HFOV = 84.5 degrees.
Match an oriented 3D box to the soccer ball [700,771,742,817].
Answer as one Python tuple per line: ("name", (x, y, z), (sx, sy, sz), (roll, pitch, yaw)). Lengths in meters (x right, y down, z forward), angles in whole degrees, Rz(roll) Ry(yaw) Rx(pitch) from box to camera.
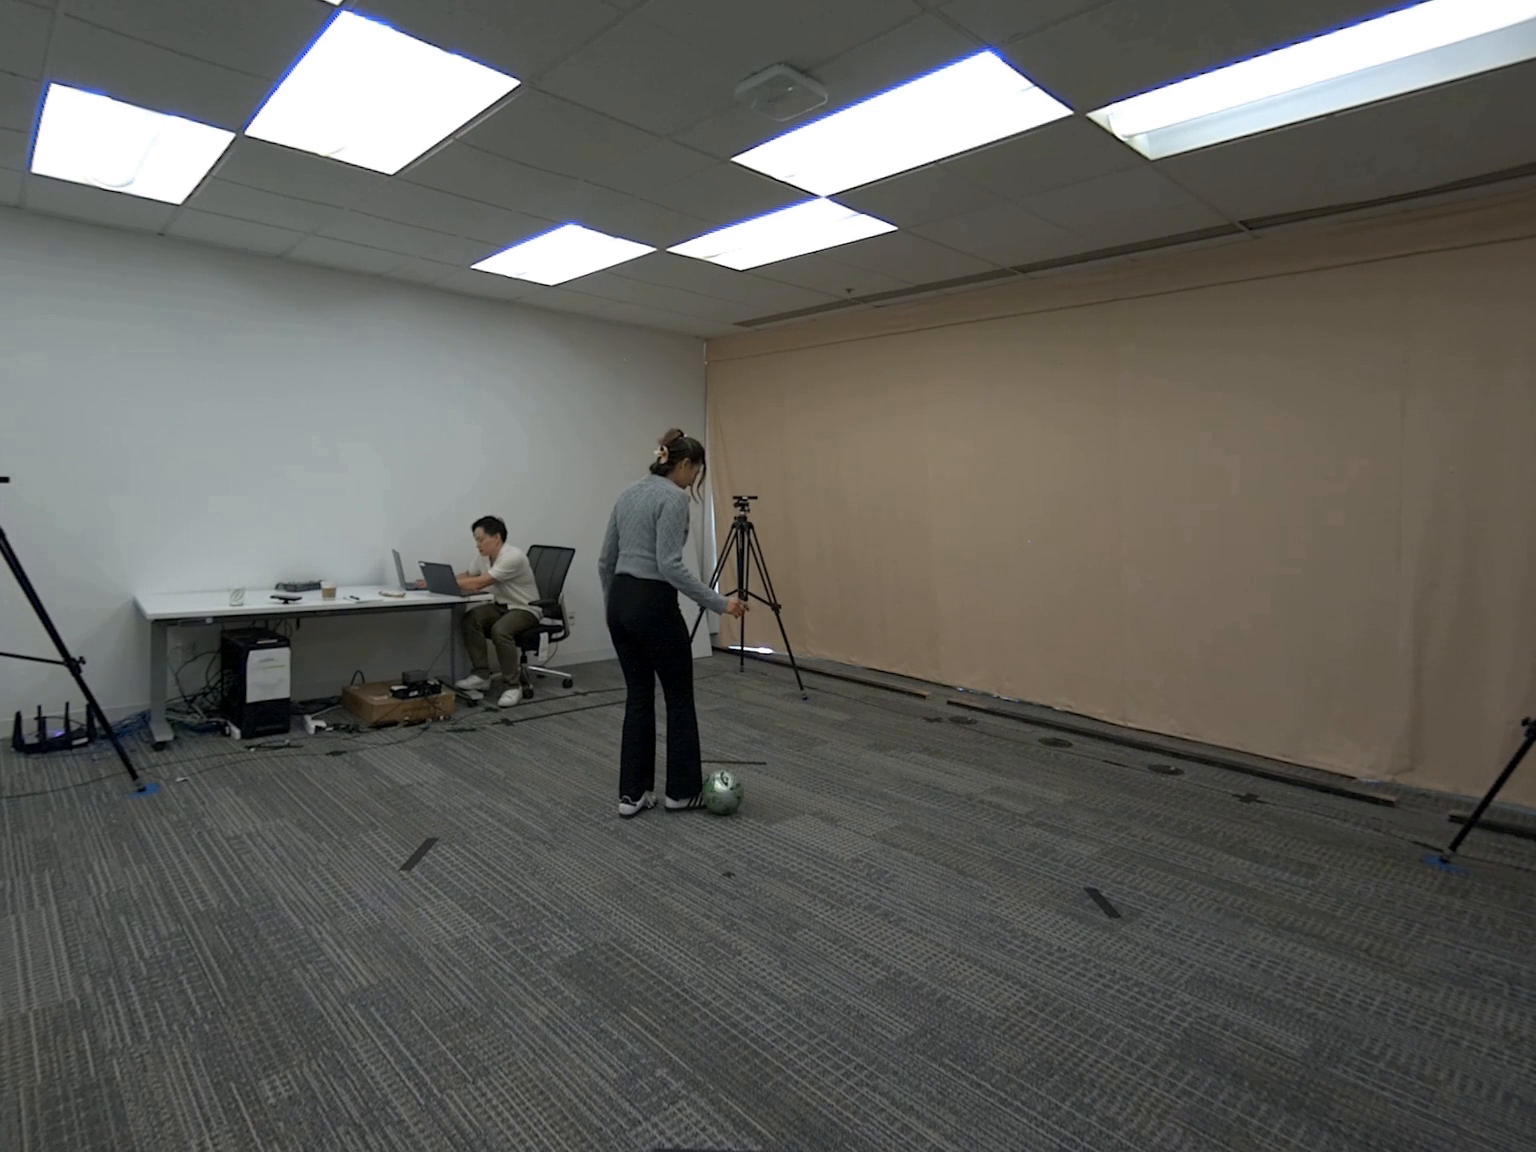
("soccer ball", (-0.217, 0.957, 3.713), (0.187, 0.187, 0.188), (1, 4, -1))
